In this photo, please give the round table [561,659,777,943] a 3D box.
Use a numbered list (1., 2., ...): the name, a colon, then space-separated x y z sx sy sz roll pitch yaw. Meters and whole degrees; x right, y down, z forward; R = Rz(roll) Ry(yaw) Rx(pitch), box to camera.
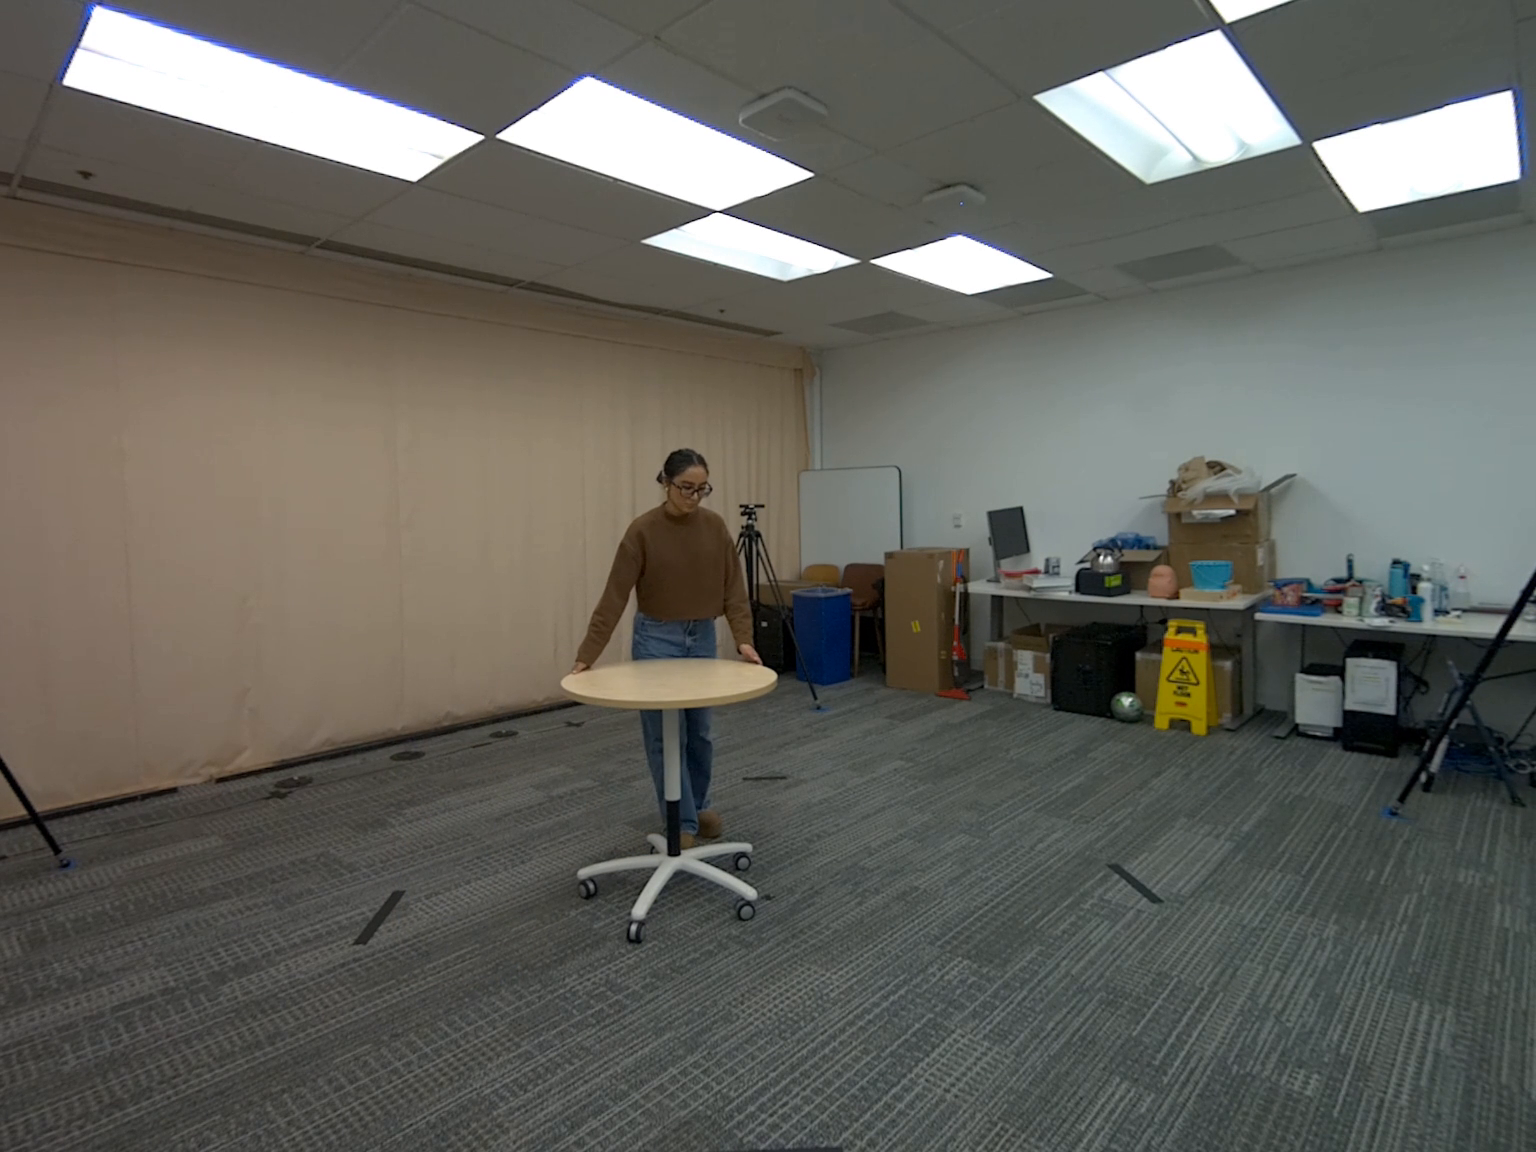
1. round table: -0.336 0.751 3.016 0.763 0.792 0.766 -1 3 -2
